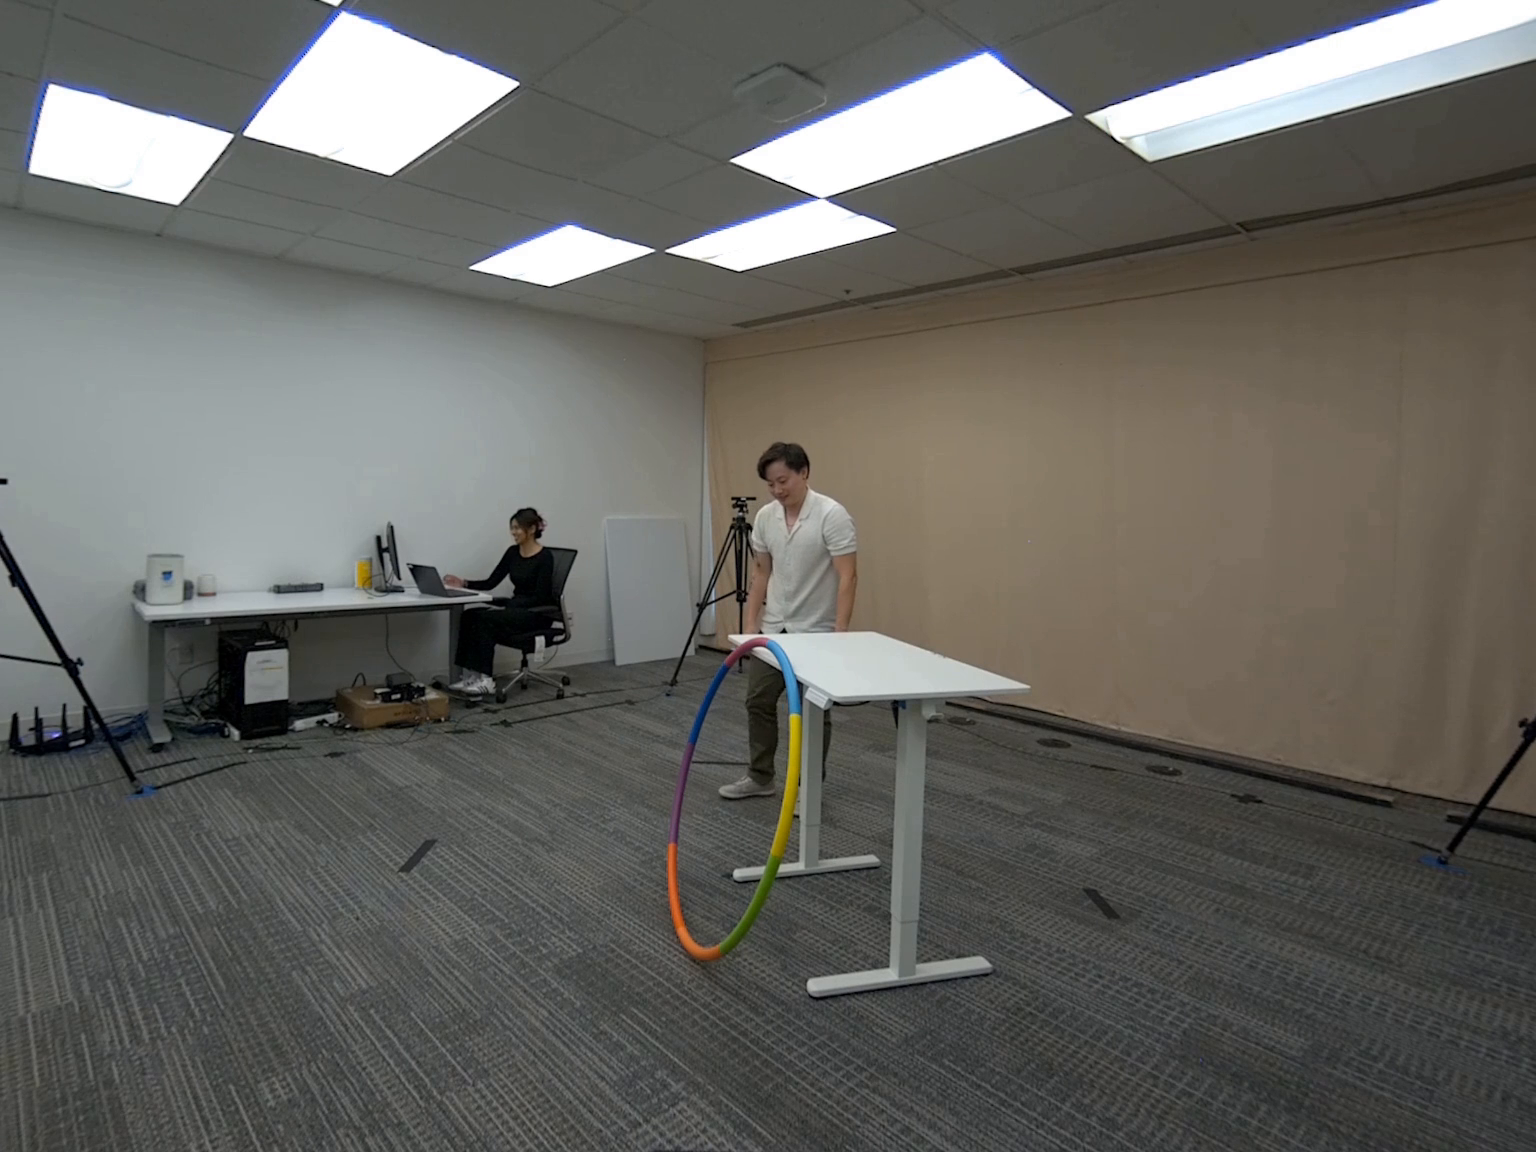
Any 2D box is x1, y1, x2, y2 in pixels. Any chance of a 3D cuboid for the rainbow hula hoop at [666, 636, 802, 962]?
[{"bbox_3d":[-0.146,0.684,2.658,0.035,0.979,0.995,17,-1,-19],"label":"rainbow hula hoop"}]
